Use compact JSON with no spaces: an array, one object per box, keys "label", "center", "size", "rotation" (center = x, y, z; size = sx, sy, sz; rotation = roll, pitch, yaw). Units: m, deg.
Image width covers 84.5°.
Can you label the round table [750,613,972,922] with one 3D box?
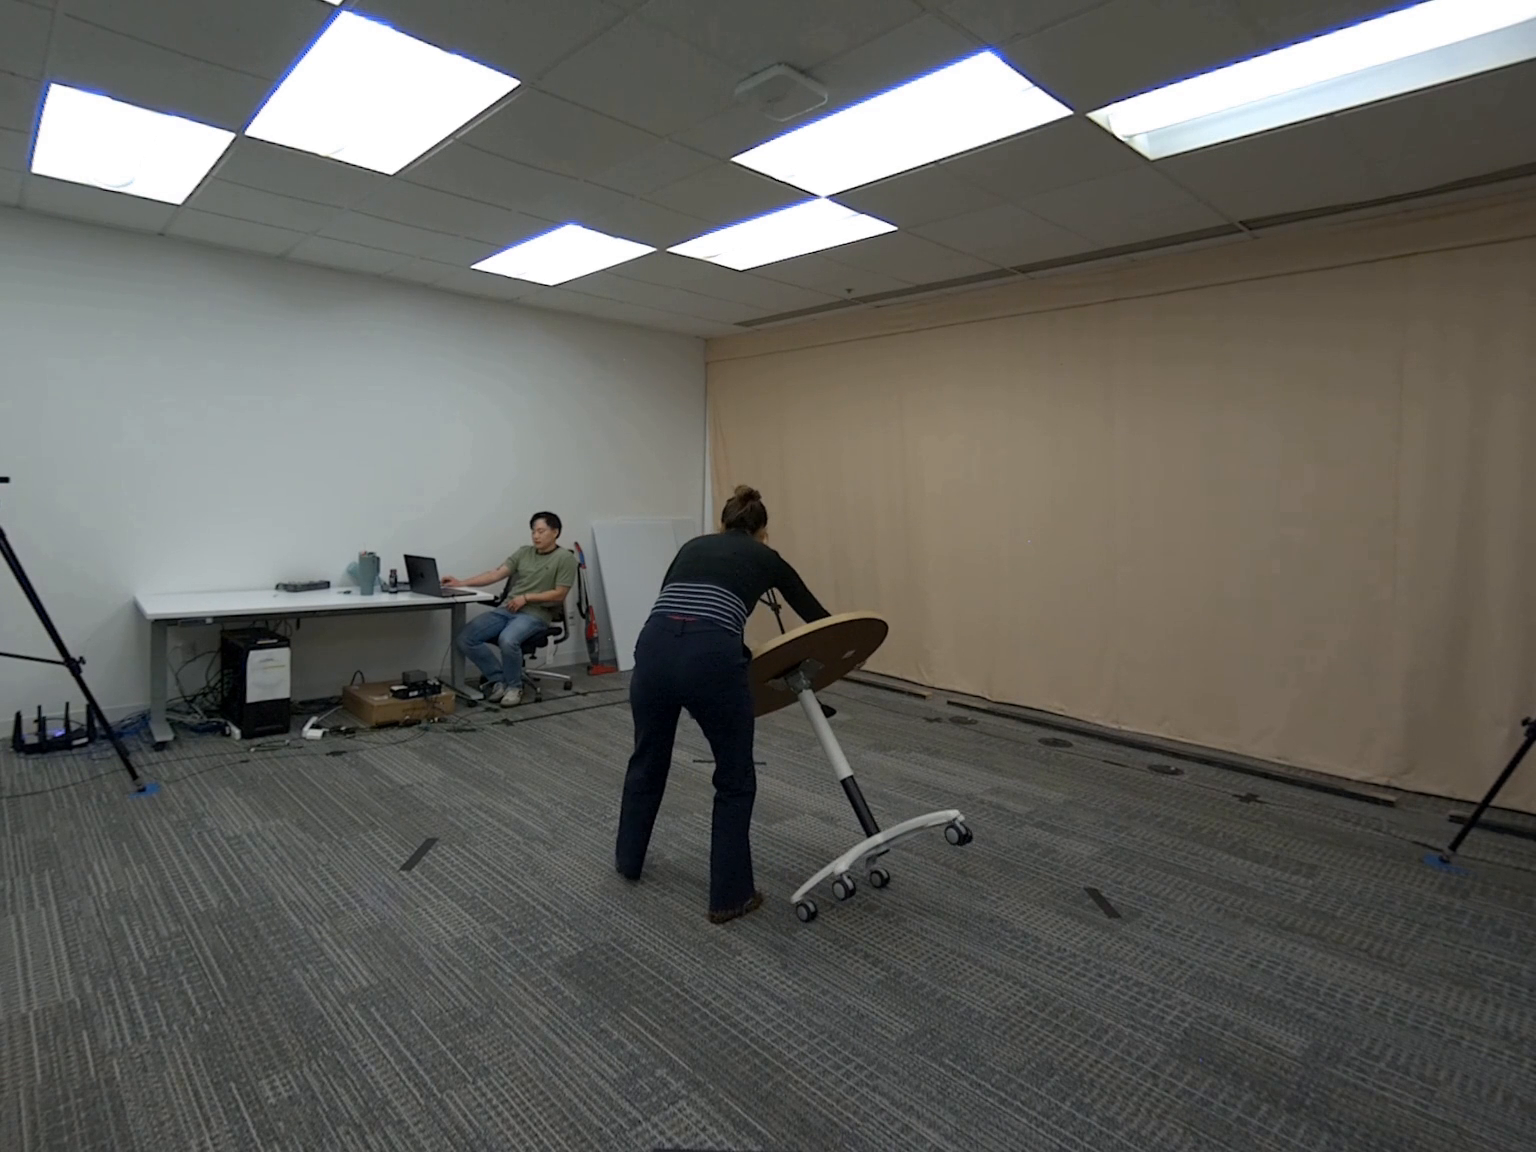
[{"label":"round table","center":[0.249,0.664,2.919],"size":[0.760,0.812,0.750],"rotation":[-21,-25,-11]}]
